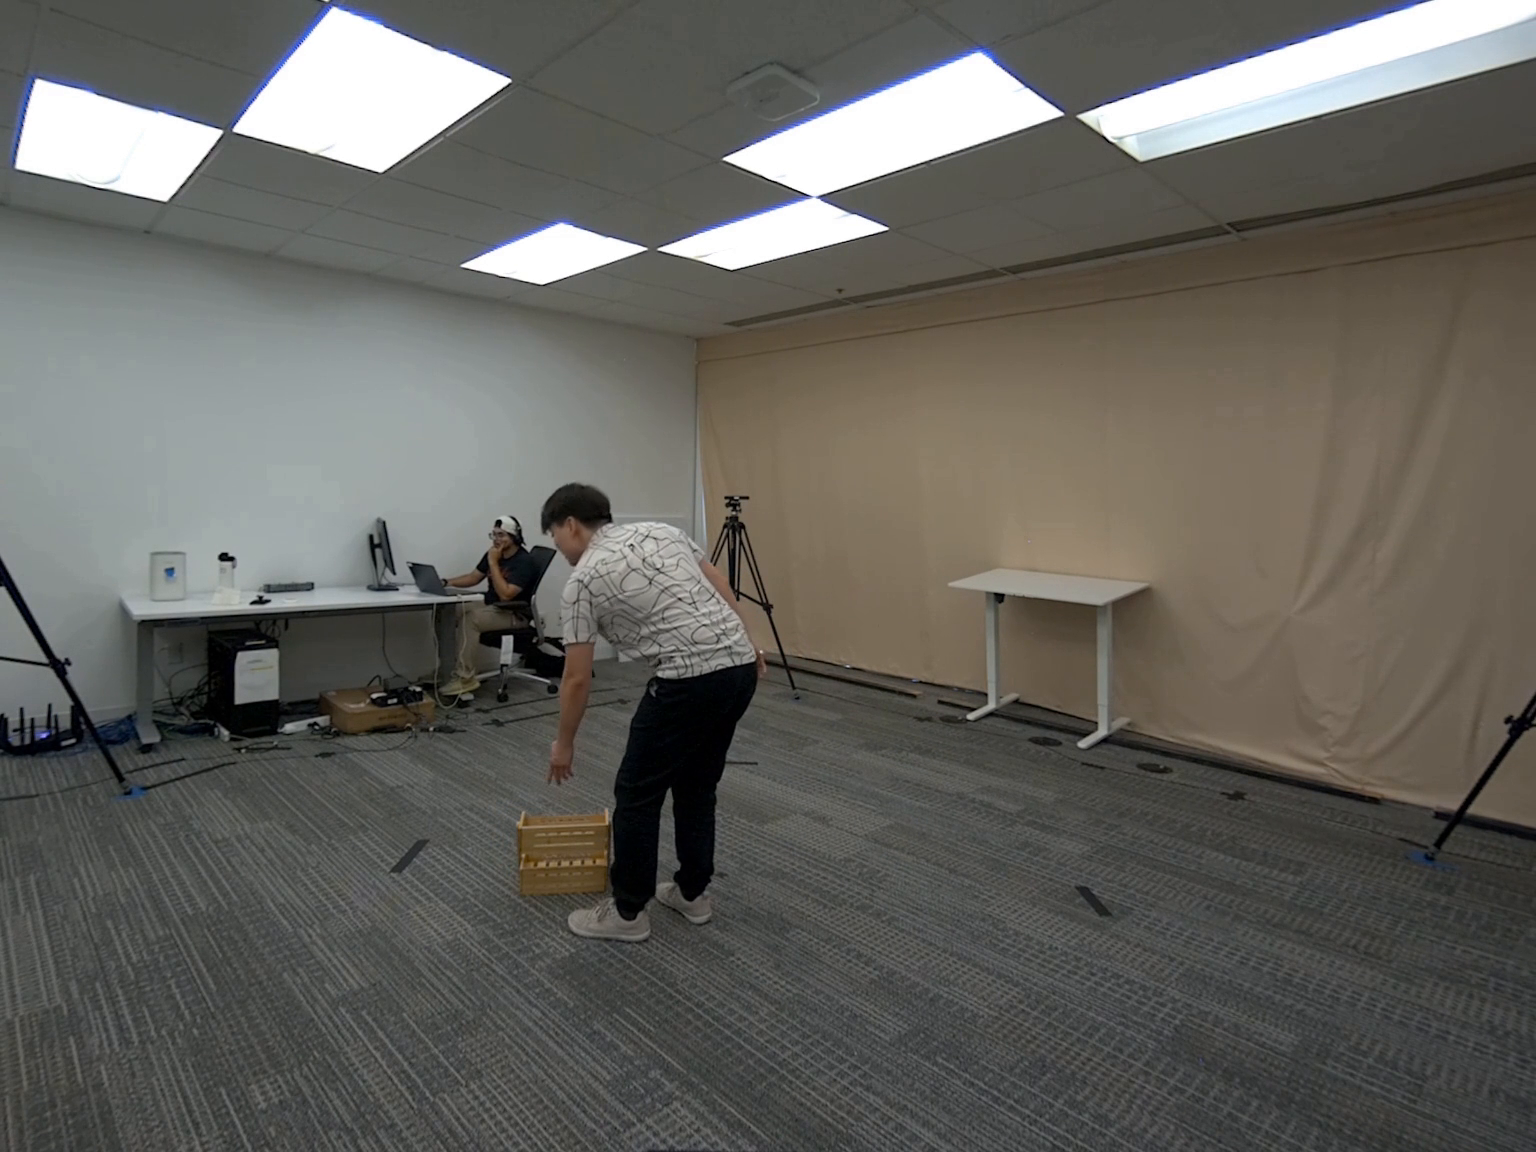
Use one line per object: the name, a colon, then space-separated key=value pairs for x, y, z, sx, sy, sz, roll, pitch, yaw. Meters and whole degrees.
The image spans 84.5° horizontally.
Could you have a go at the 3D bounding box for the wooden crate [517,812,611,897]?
wooden crate: x=-0.763 y=0.971 z=3.037 sx=0.321 sy=0.272 sz=0.306 roll=0 pitch=6 yaw=-12
